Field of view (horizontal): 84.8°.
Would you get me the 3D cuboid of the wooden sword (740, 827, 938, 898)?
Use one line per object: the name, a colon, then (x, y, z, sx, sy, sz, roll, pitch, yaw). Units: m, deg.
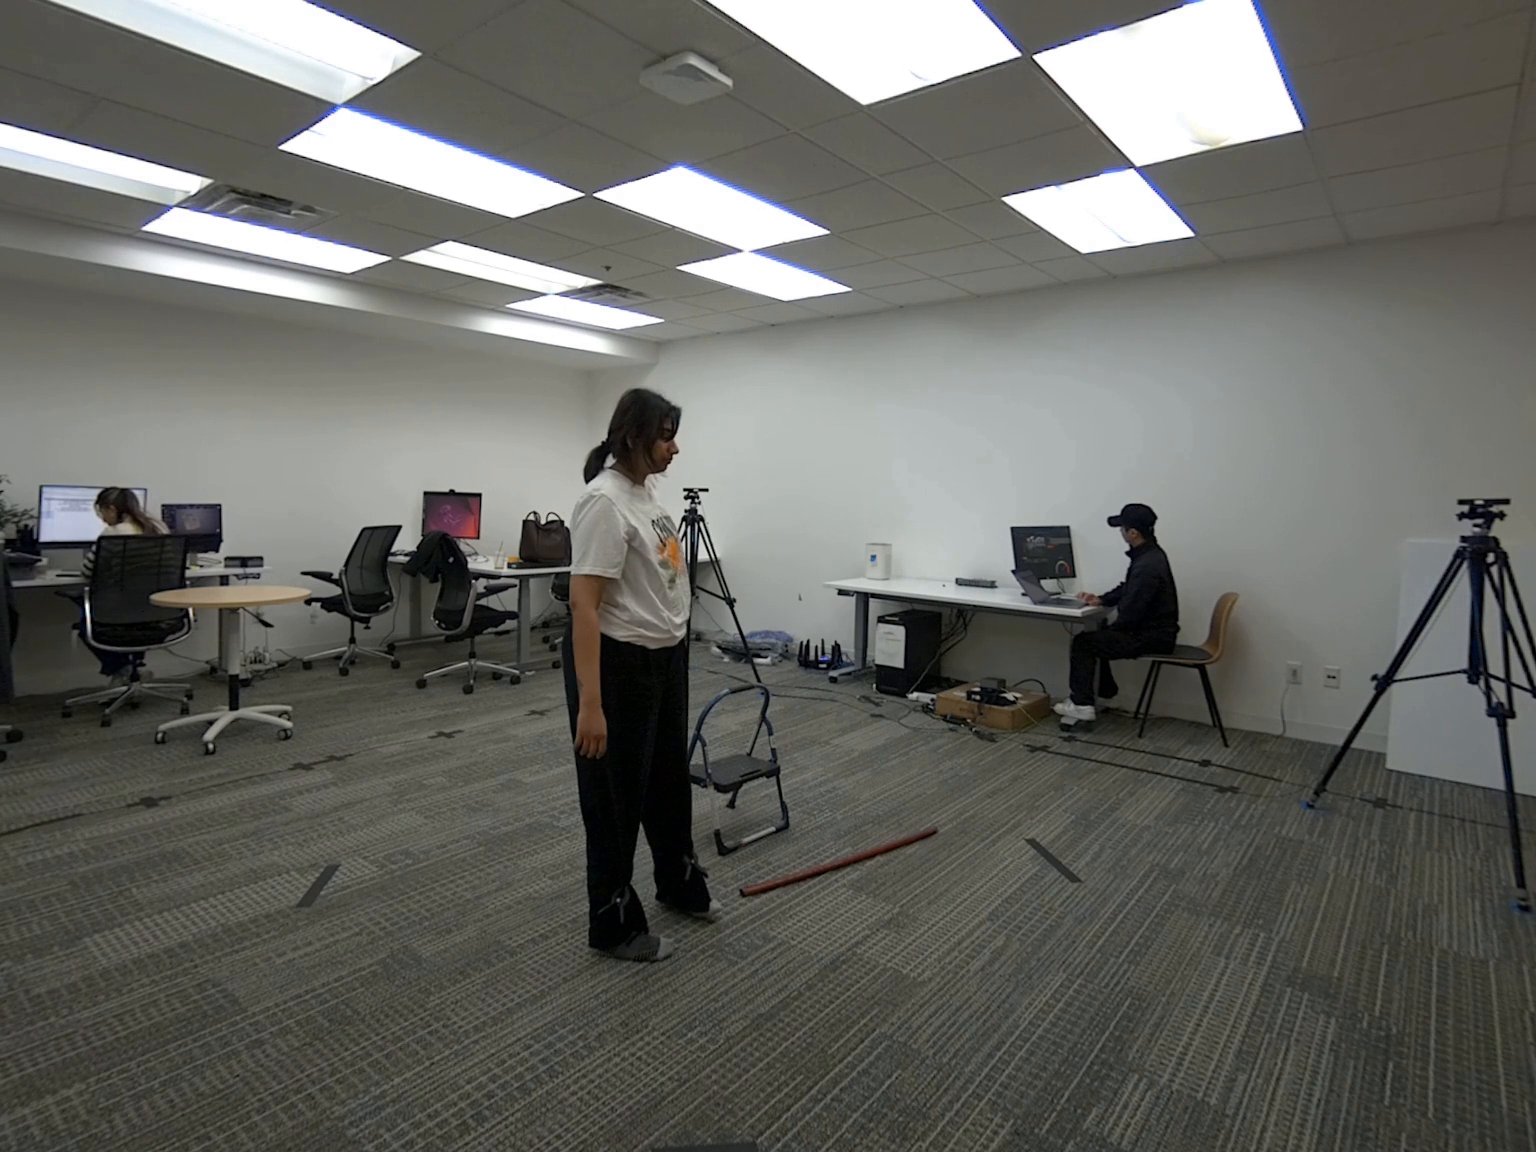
wooden sword: (0.284, 1.041, 3.198, 0.994, 0.052, 0.024, -3, -20, -38)
